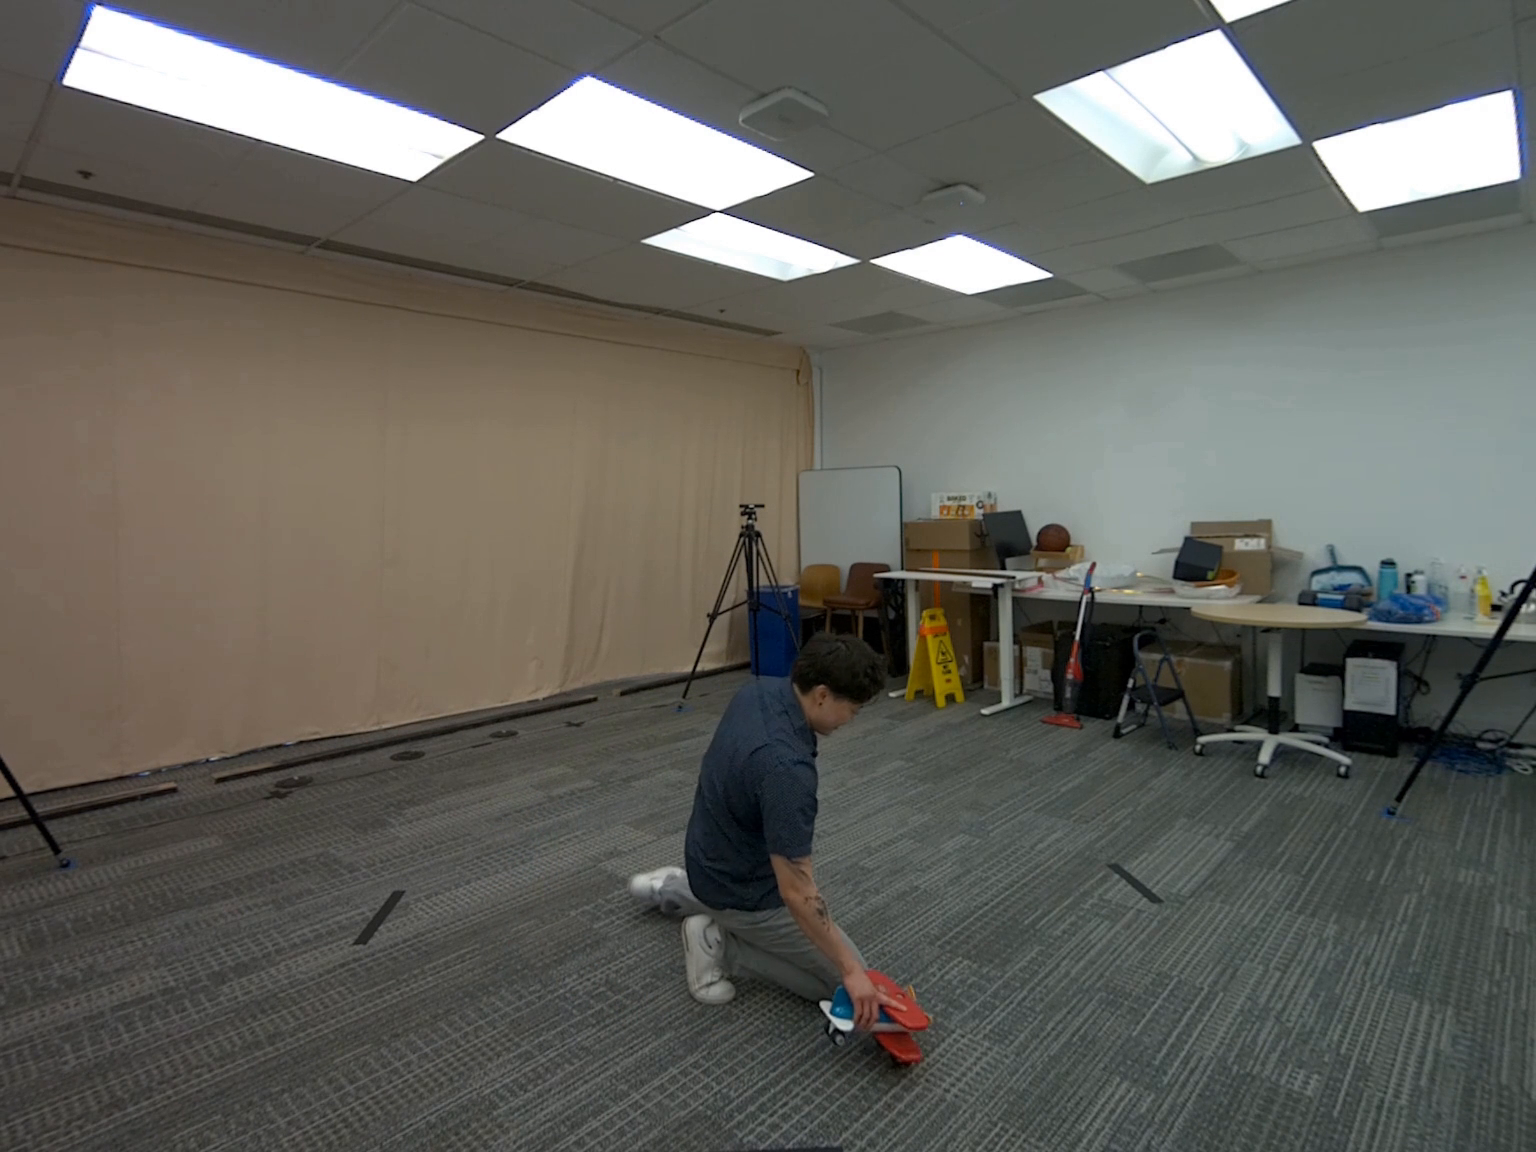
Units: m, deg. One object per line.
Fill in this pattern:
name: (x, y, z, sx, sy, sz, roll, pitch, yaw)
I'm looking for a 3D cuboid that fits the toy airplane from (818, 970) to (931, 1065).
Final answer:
toy airplane: (0.283, 1.113, 2.079, 0.260, 0.156, 0.250, 19, -6, 40)
